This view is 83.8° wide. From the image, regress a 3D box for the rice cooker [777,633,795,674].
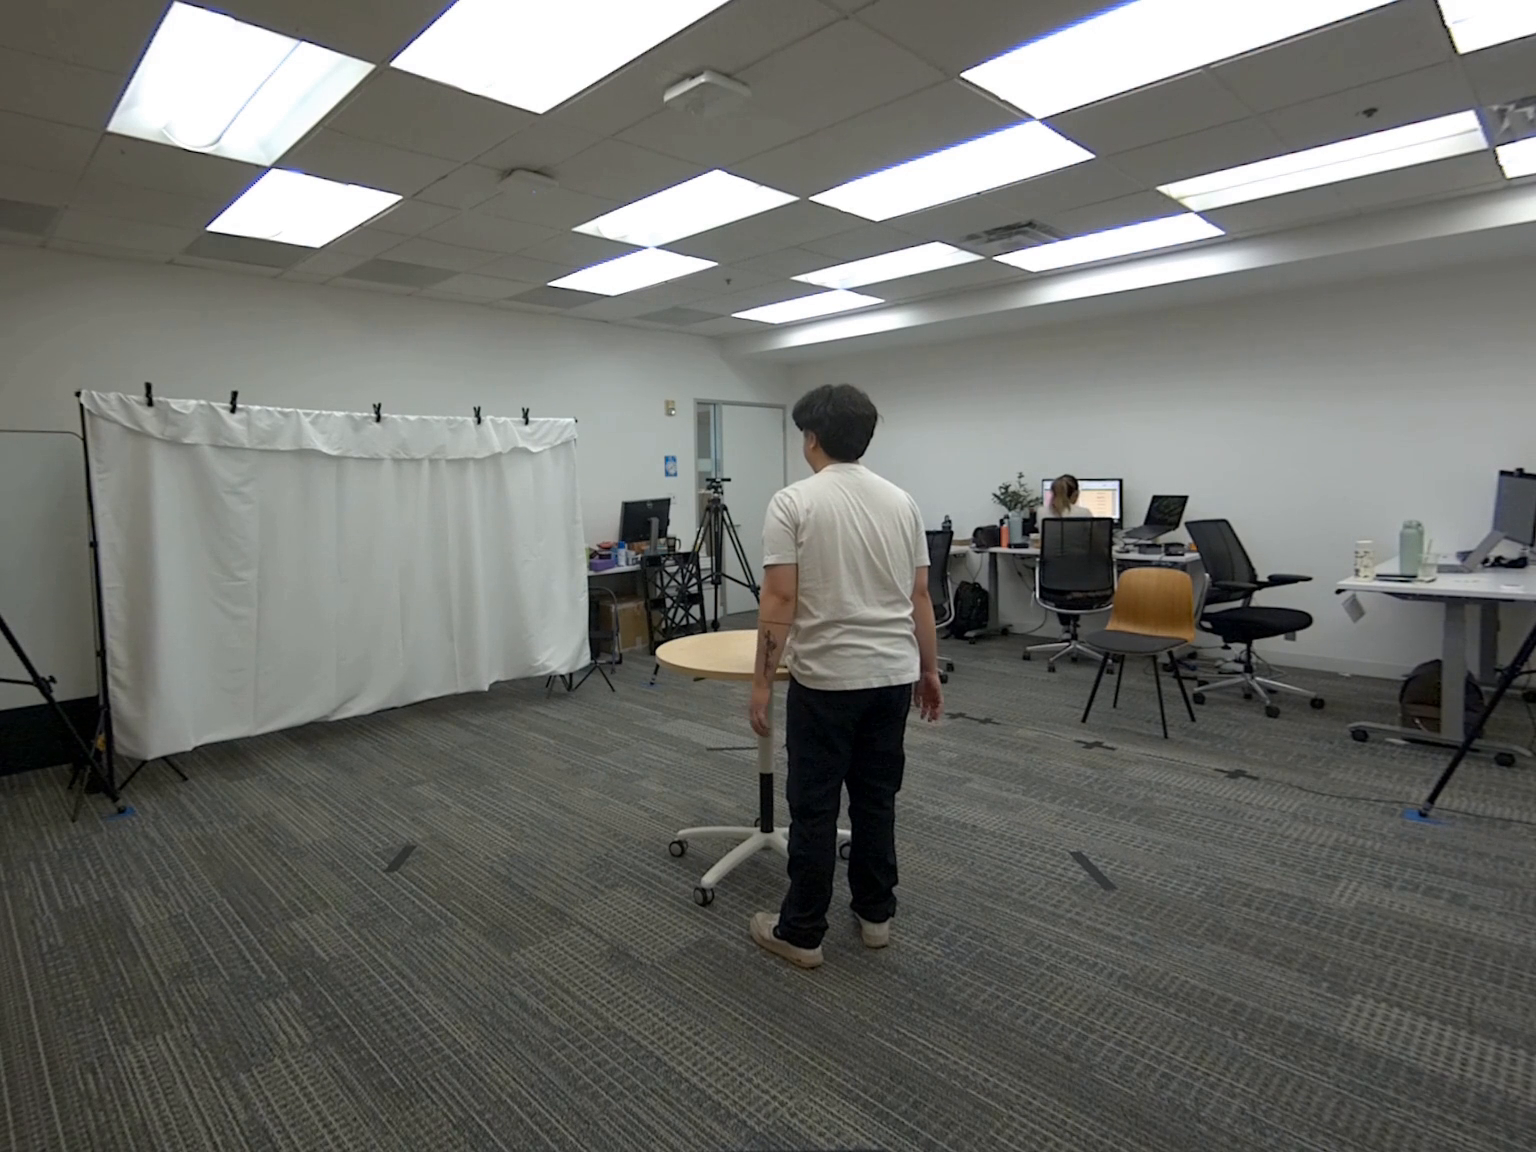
[{"bbox_3d":[0.090,0.165,2.766,0.216,0.232,0.222,-4,5,-23],"label":"rice cooker"}]
